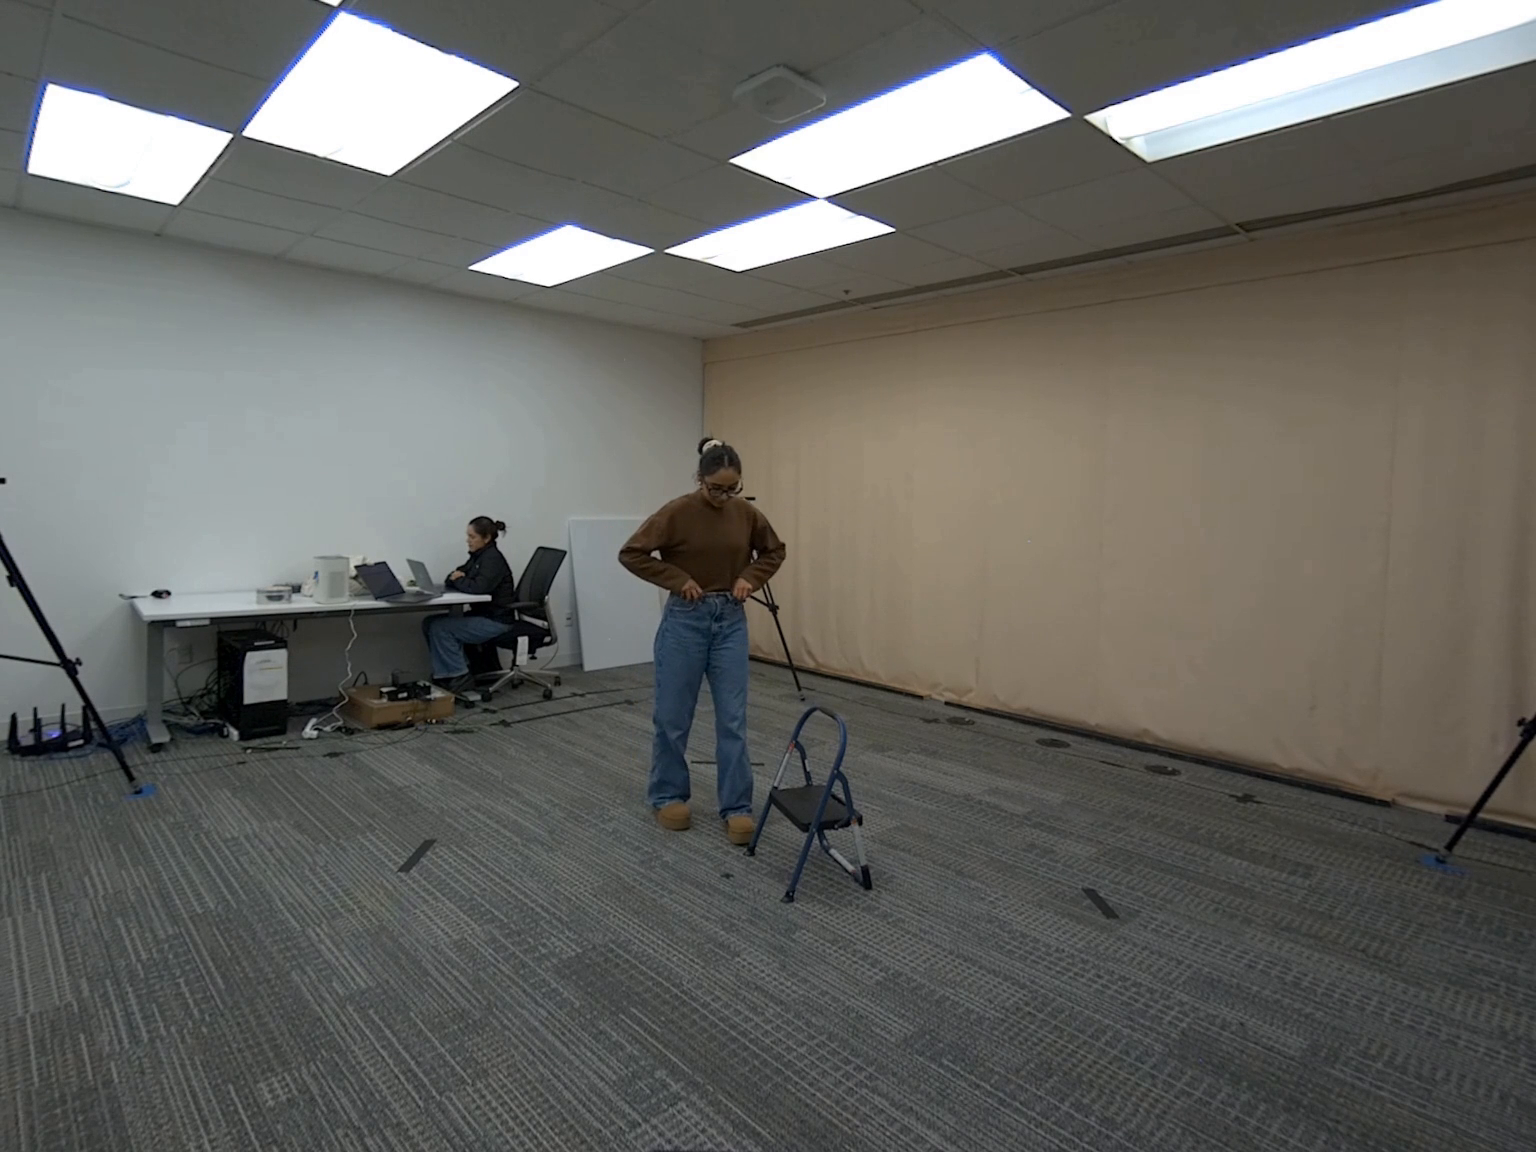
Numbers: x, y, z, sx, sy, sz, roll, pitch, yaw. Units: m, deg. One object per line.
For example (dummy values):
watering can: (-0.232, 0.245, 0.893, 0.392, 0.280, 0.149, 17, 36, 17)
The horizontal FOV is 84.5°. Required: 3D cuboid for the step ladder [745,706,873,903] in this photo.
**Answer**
step ladder: (0.147, 0.809, 3.136, 0.344, 0.604, 0.438, 0, 4, -20)
